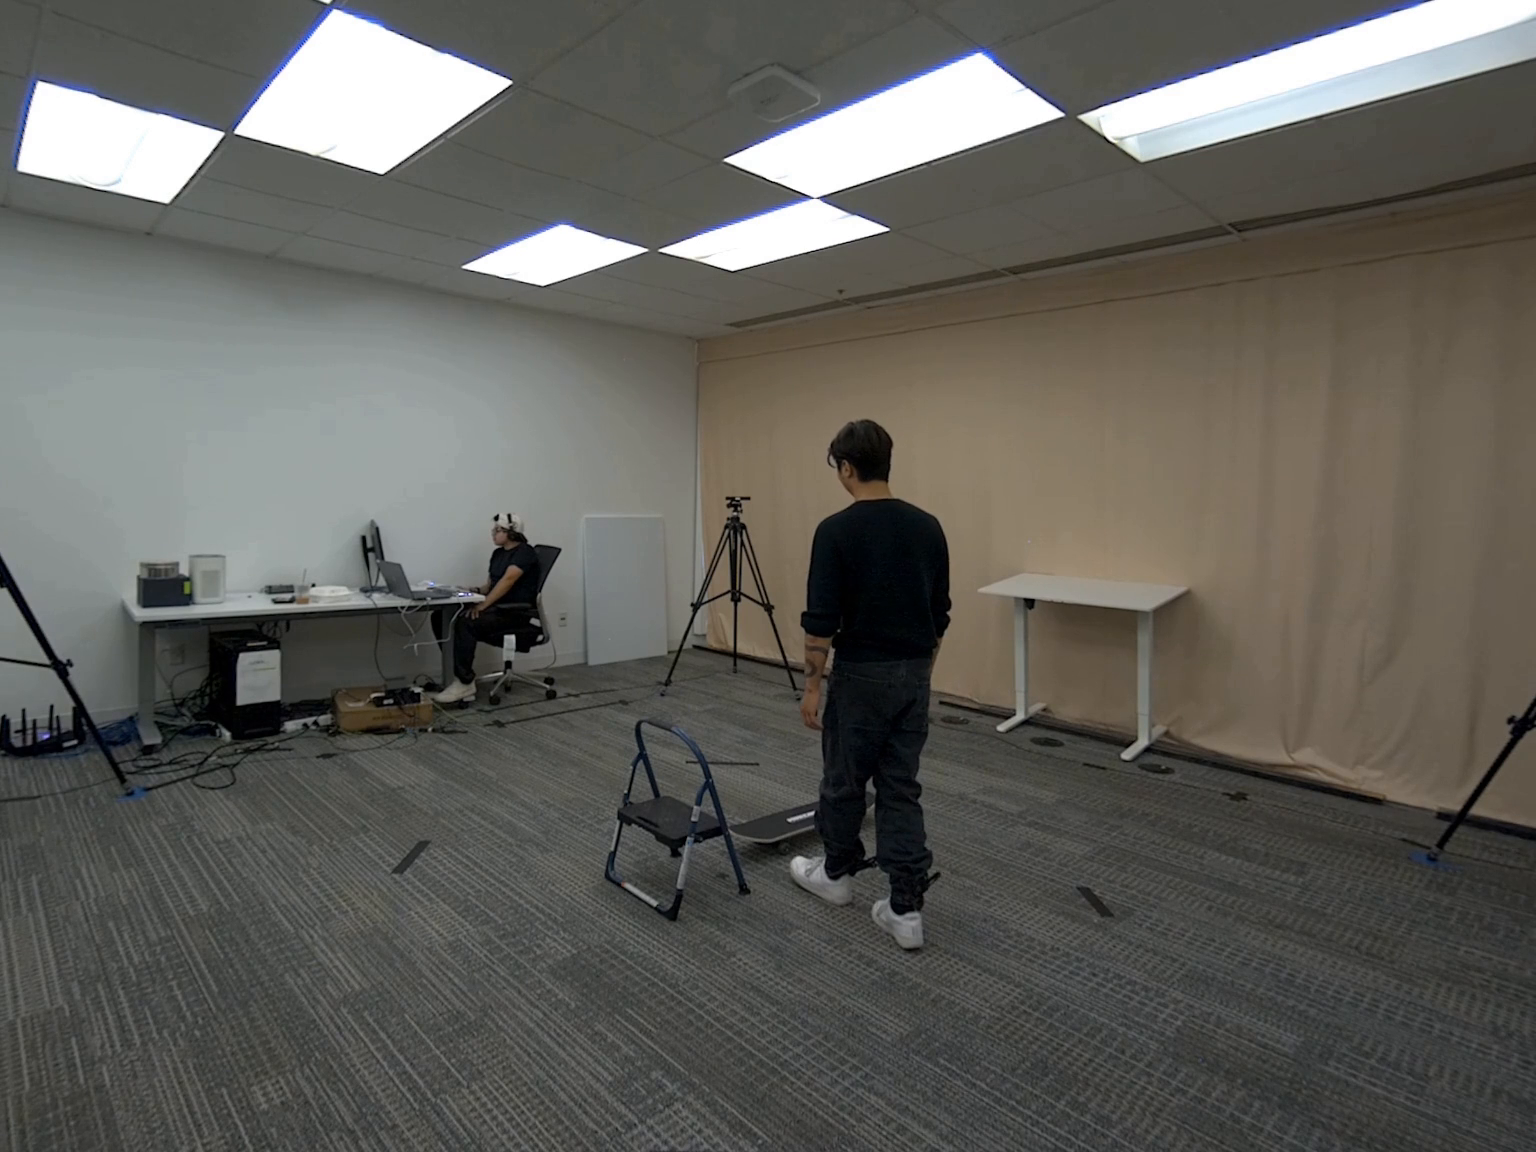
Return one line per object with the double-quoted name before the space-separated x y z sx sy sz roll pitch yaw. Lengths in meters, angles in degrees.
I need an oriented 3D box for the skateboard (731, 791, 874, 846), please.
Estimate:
"skateboard" 0.155 1.027 3.491 0.768 0.110 0.198 -3 6 -40
